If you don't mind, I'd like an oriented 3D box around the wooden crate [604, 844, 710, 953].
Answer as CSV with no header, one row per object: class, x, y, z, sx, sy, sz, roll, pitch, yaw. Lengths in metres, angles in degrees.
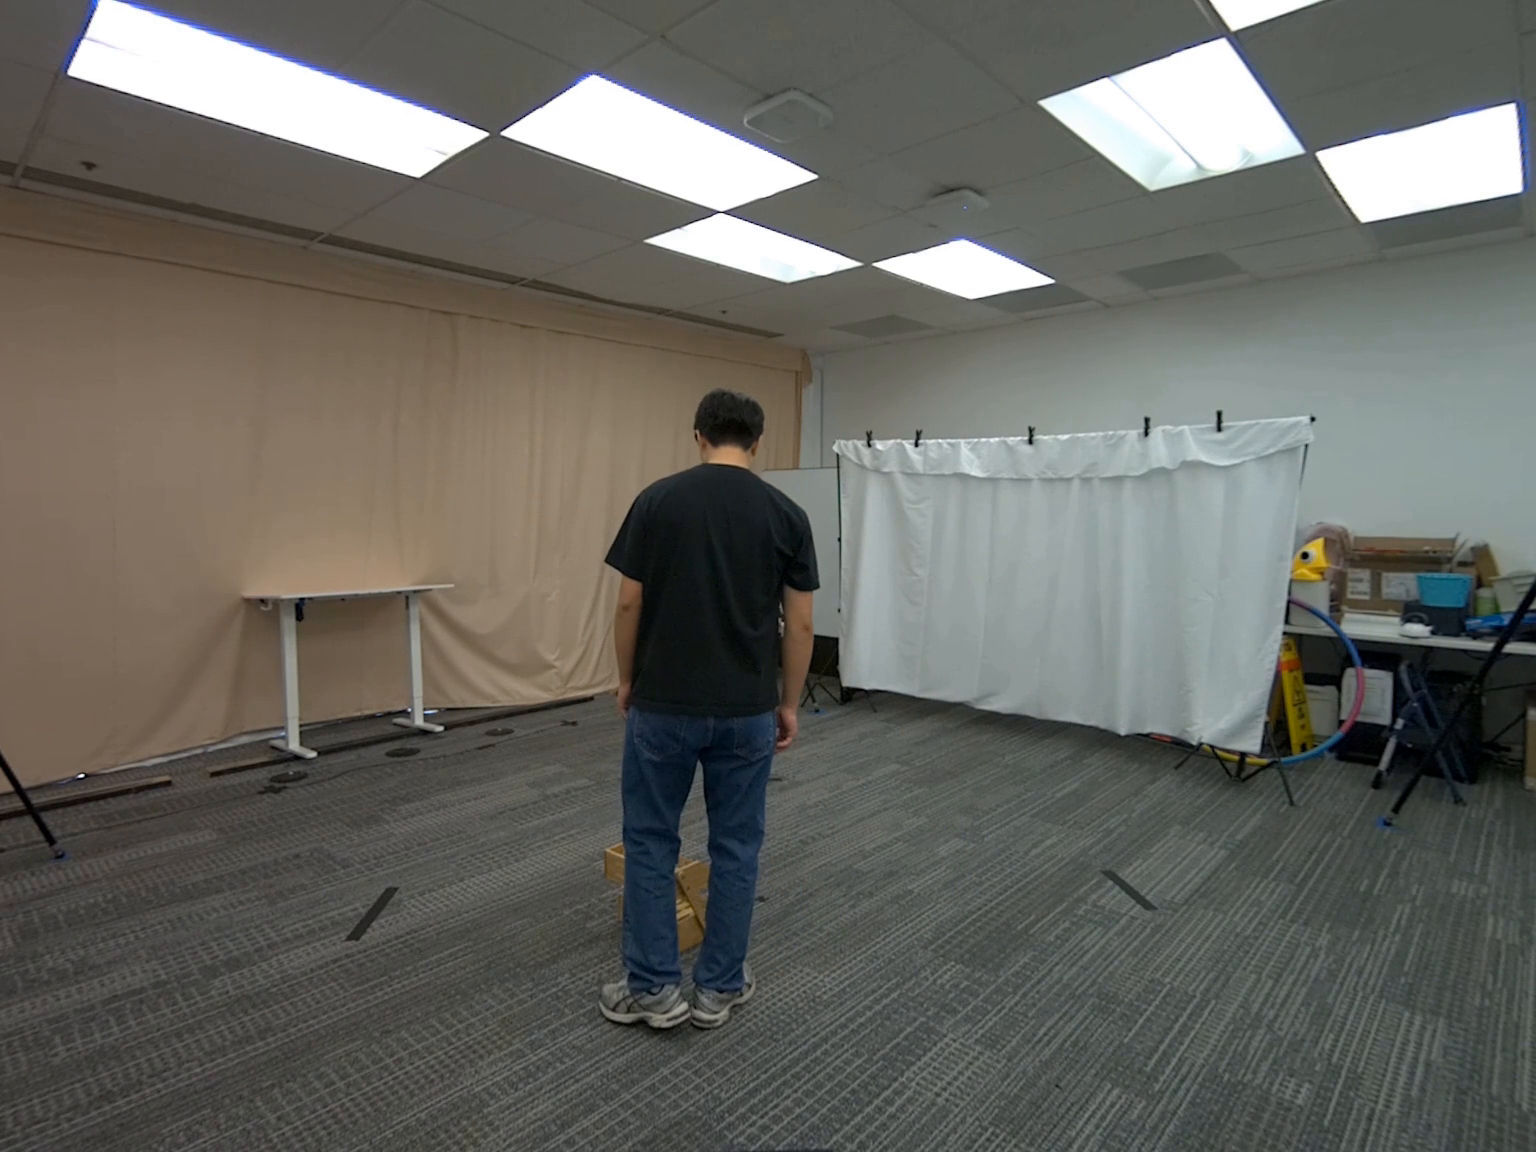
wooden crate,-0.329,1.031,2.789,0.335,0.272,0.293,3,6,42
